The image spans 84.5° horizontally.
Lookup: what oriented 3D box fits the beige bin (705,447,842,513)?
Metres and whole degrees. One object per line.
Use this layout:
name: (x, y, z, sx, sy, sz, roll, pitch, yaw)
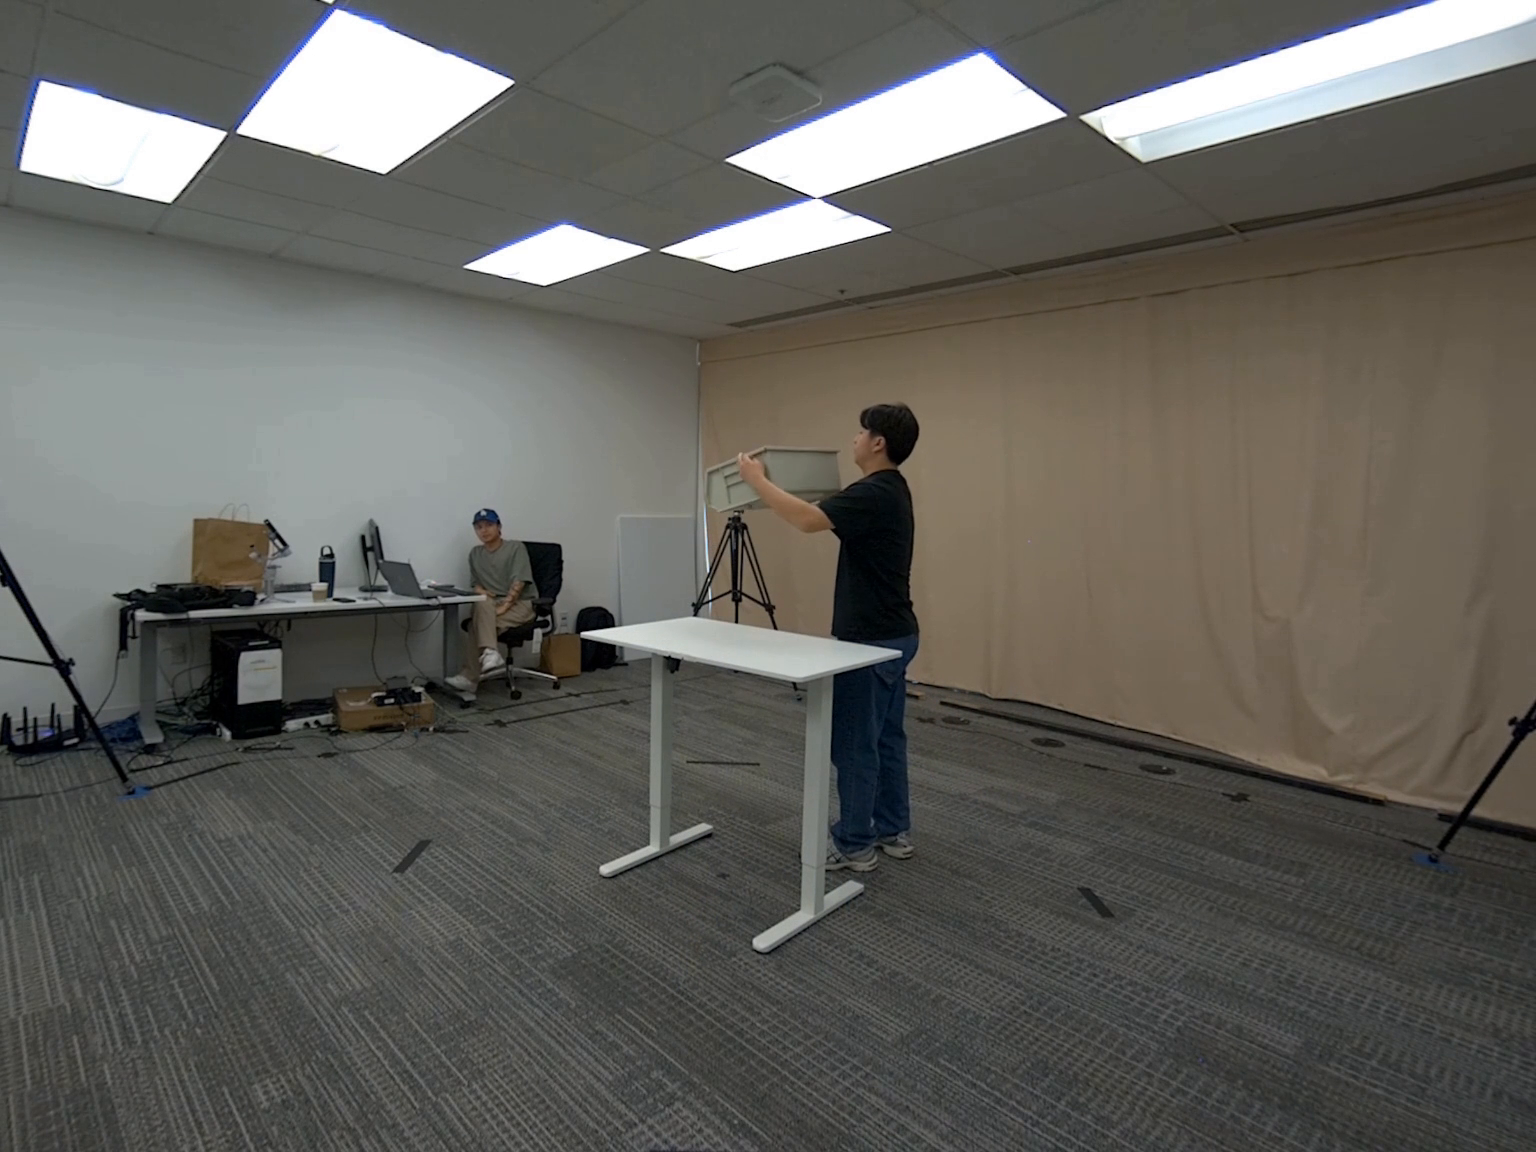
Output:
beige bin: (0.020, -0.372, 3.333, 0.413, 0.190, 0.384, -6, -4, -42)
